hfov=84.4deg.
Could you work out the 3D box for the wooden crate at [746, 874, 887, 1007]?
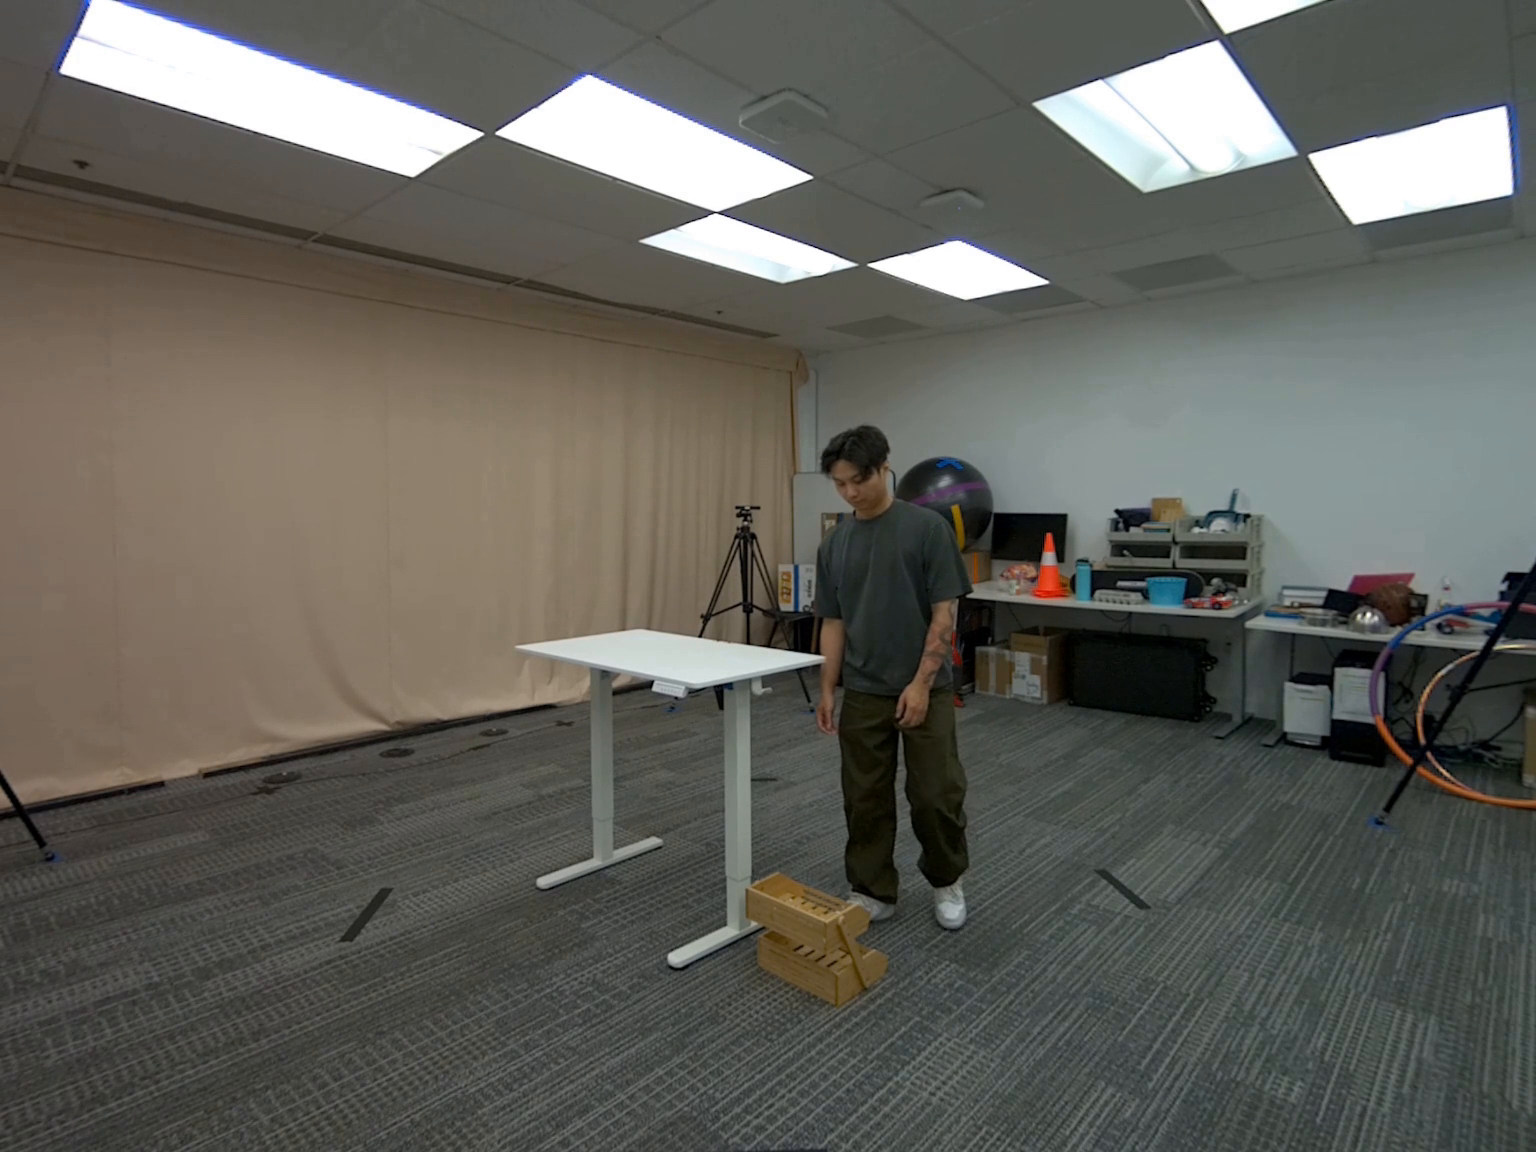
[{"bbox_3d":[0.148,1.051,2.503,0.335,0.273,0.293,3,5,42],"label":"wooden crate"}]
